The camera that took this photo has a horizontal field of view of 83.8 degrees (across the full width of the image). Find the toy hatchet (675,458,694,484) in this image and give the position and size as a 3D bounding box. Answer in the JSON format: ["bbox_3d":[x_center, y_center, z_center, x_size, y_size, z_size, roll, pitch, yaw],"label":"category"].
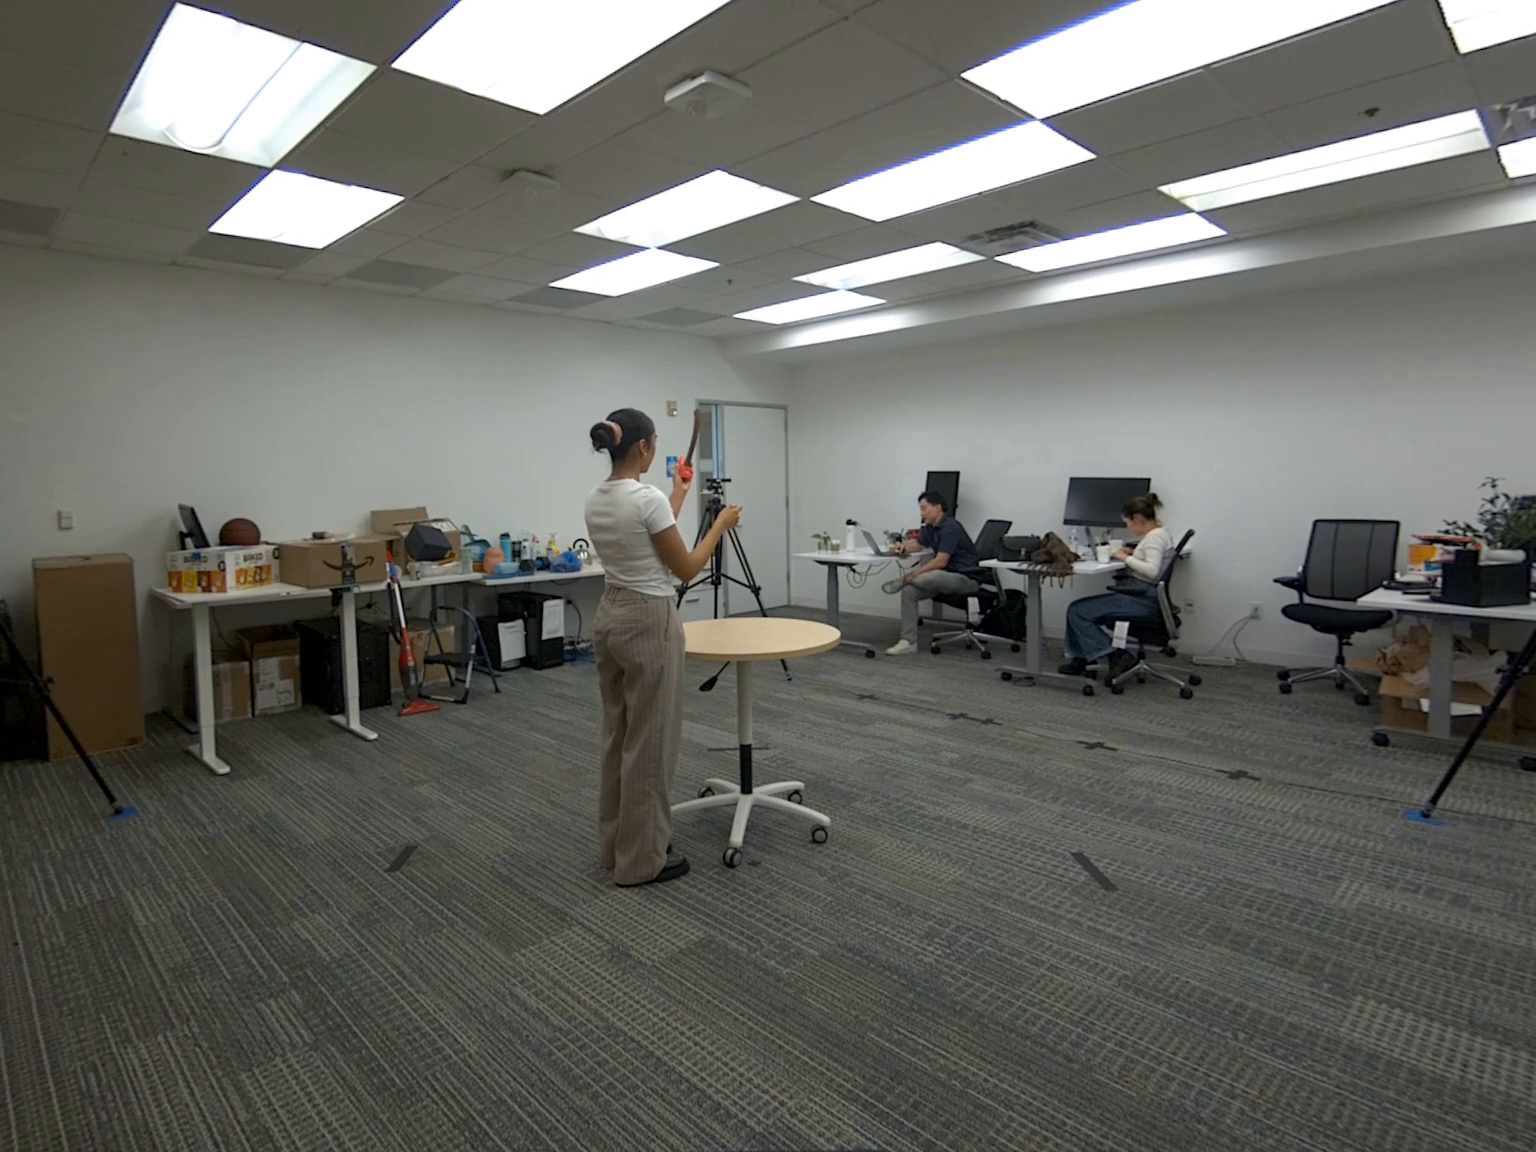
[{"bbox_3d":[-0.301,-0.501,3.268,0.029,0.271,0.134,10,-7,-29],"label":"toy hatchet"}]
